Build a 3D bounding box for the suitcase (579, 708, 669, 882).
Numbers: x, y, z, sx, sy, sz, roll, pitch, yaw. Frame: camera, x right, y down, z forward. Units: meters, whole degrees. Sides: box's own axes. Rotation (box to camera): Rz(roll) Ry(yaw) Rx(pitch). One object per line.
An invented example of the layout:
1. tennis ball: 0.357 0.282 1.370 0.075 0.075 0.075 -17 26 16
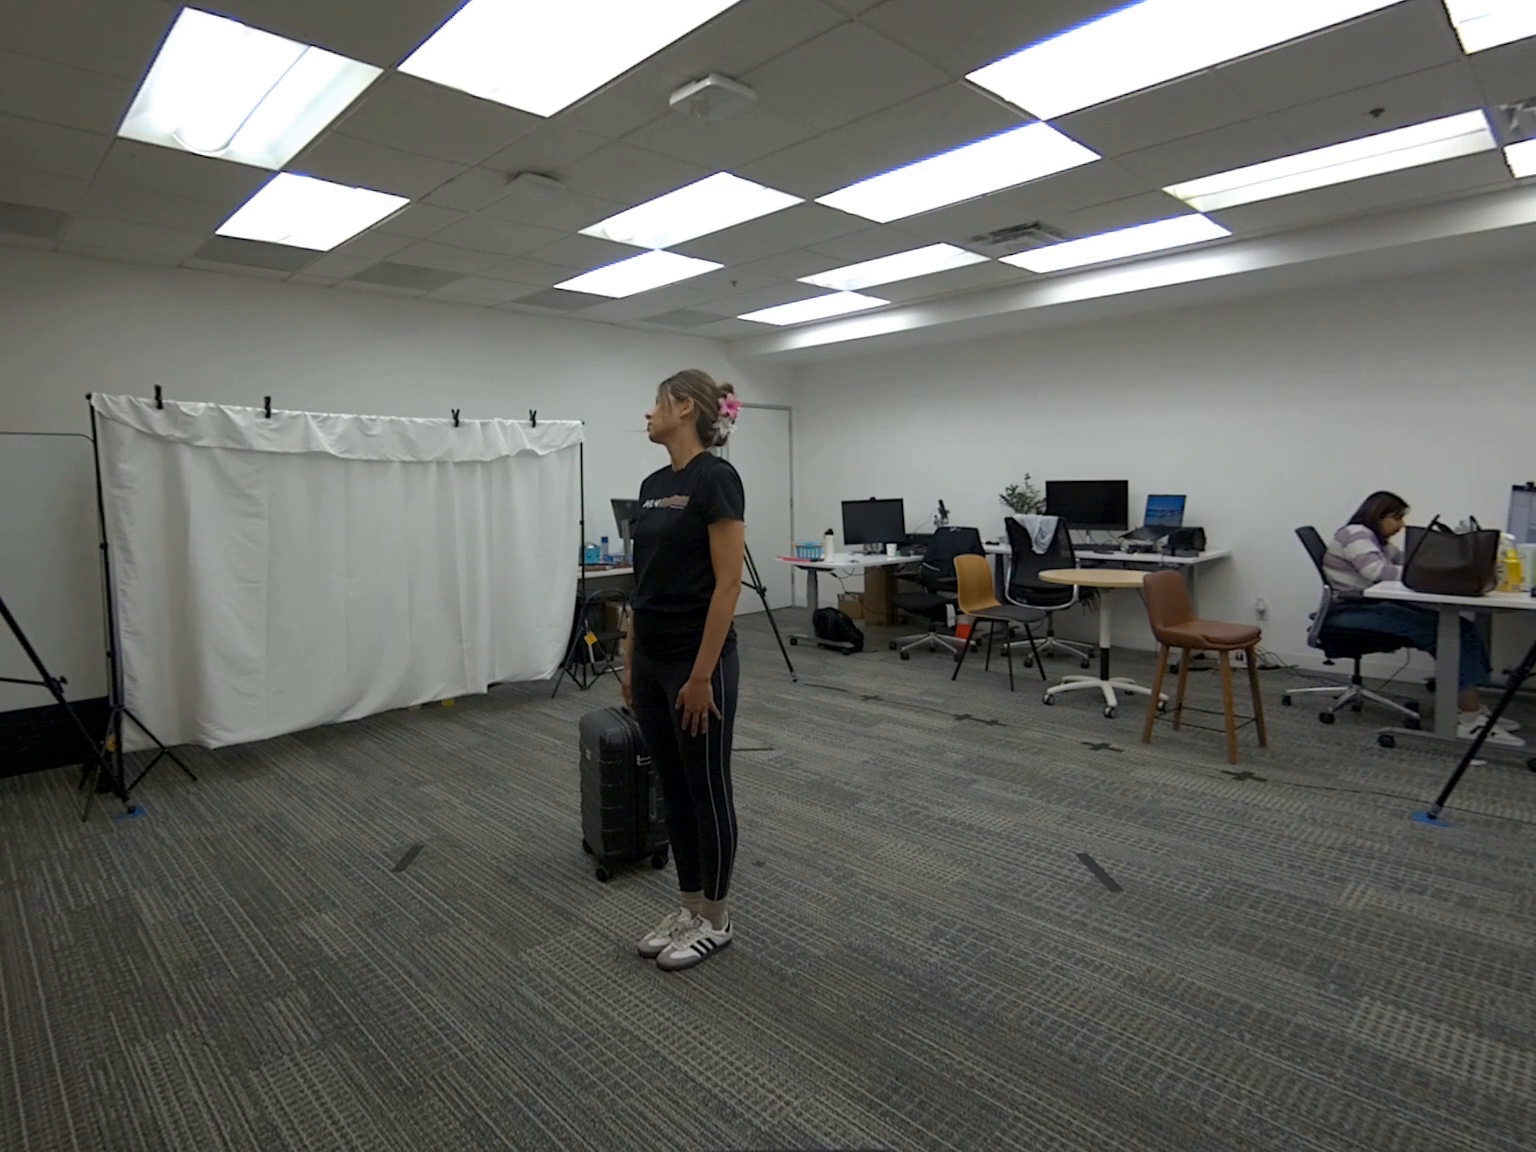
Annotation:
1. suitcase: -0.554 0.577 3.145 0.252 0.975 0.393 -4 4 -24
